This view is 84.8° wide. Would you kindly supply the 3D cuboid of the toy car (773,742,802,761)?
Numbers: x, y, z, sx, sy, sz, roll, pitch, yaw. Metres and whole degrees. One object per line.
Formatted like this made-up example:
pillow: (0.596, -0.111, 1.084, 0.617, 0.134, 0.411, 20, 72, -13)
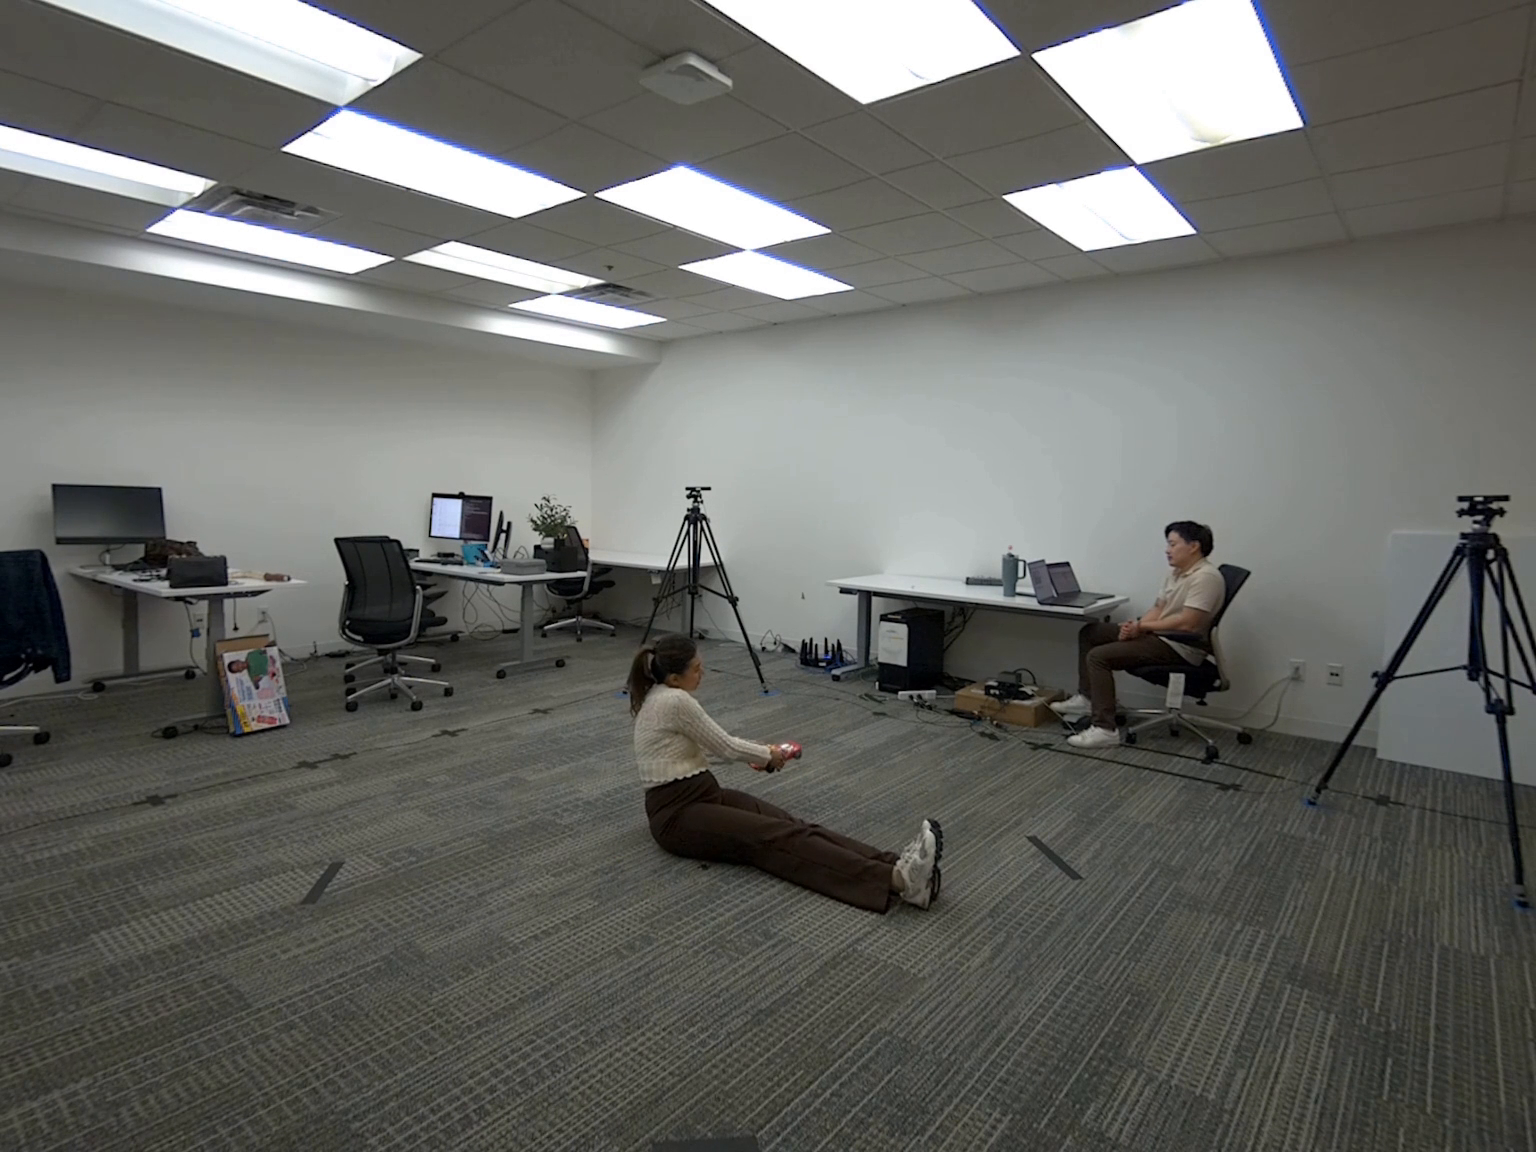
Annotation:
toy car: (0.015, 0.791, 3.718, 0.249, 0.082, 0.134, -9, 10, -29)
